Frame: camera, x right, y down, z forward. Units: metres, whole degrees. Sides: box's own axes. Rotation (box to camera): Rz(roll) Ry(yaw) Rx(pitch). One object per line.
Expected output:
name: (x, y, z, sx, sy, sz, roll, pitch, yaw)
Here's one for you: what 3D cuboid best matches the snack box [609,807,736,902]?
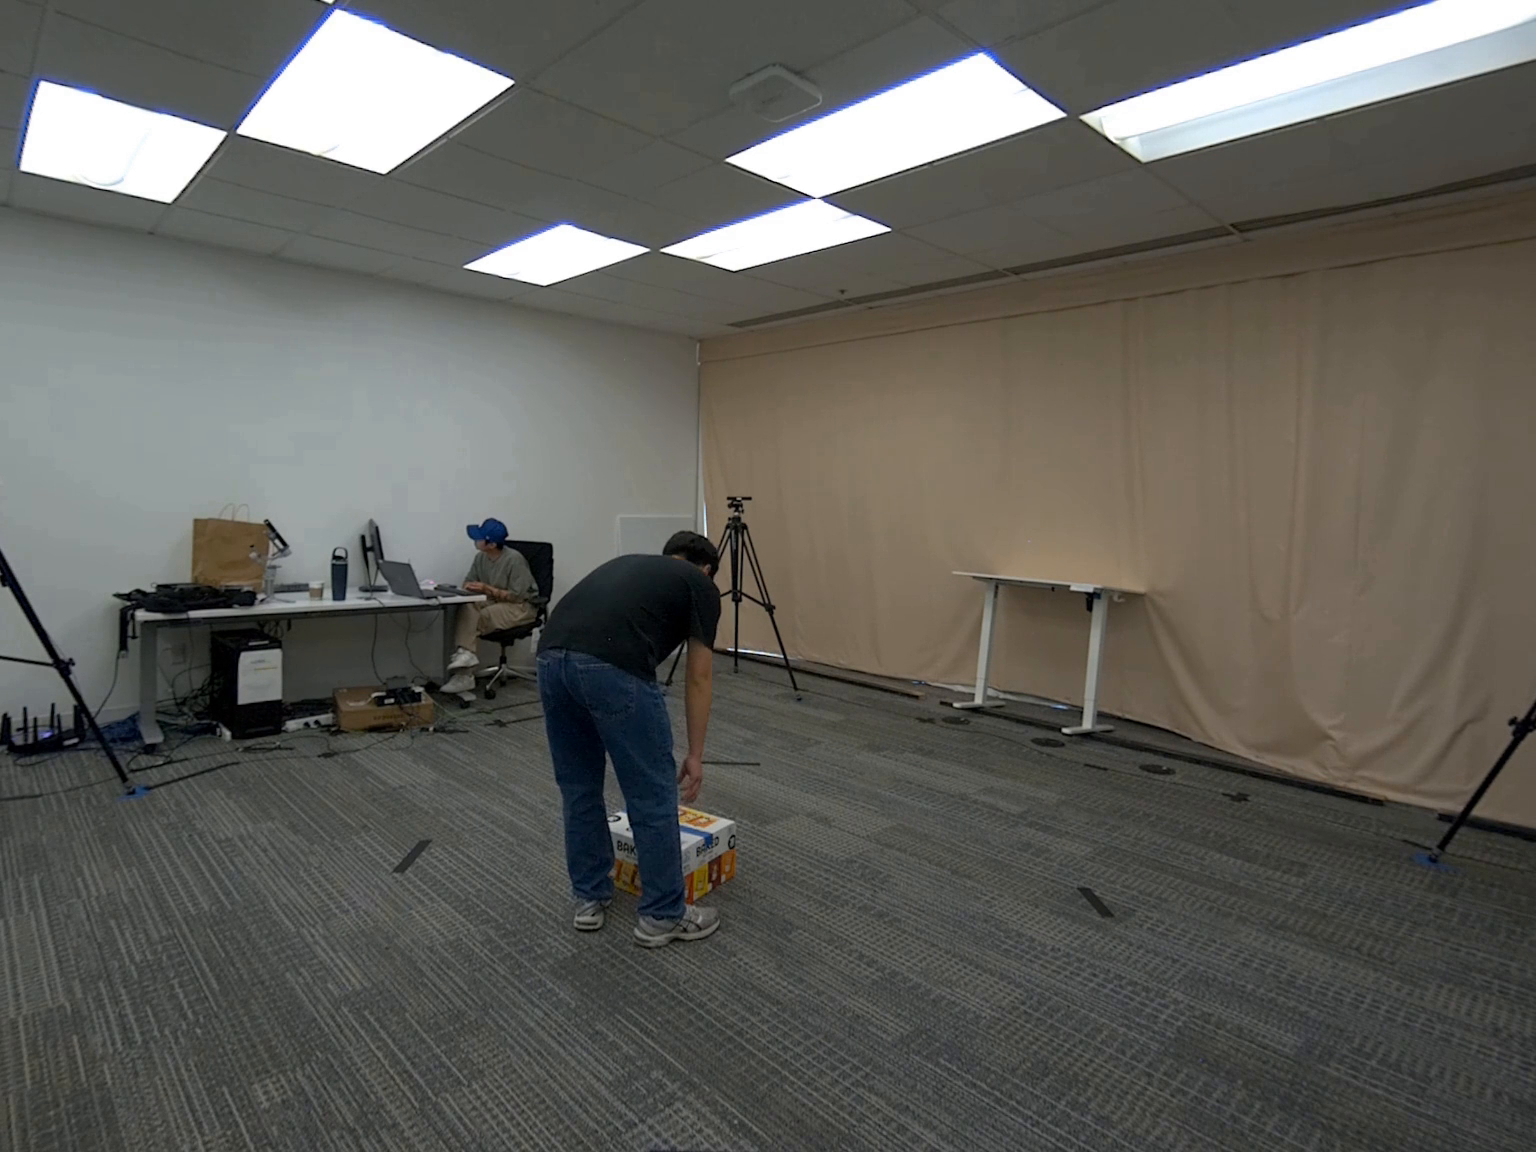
snack box: (-0.385, 1.004, 3.069, 0.415, 0.205, 0.333, 5, 6, 33)
